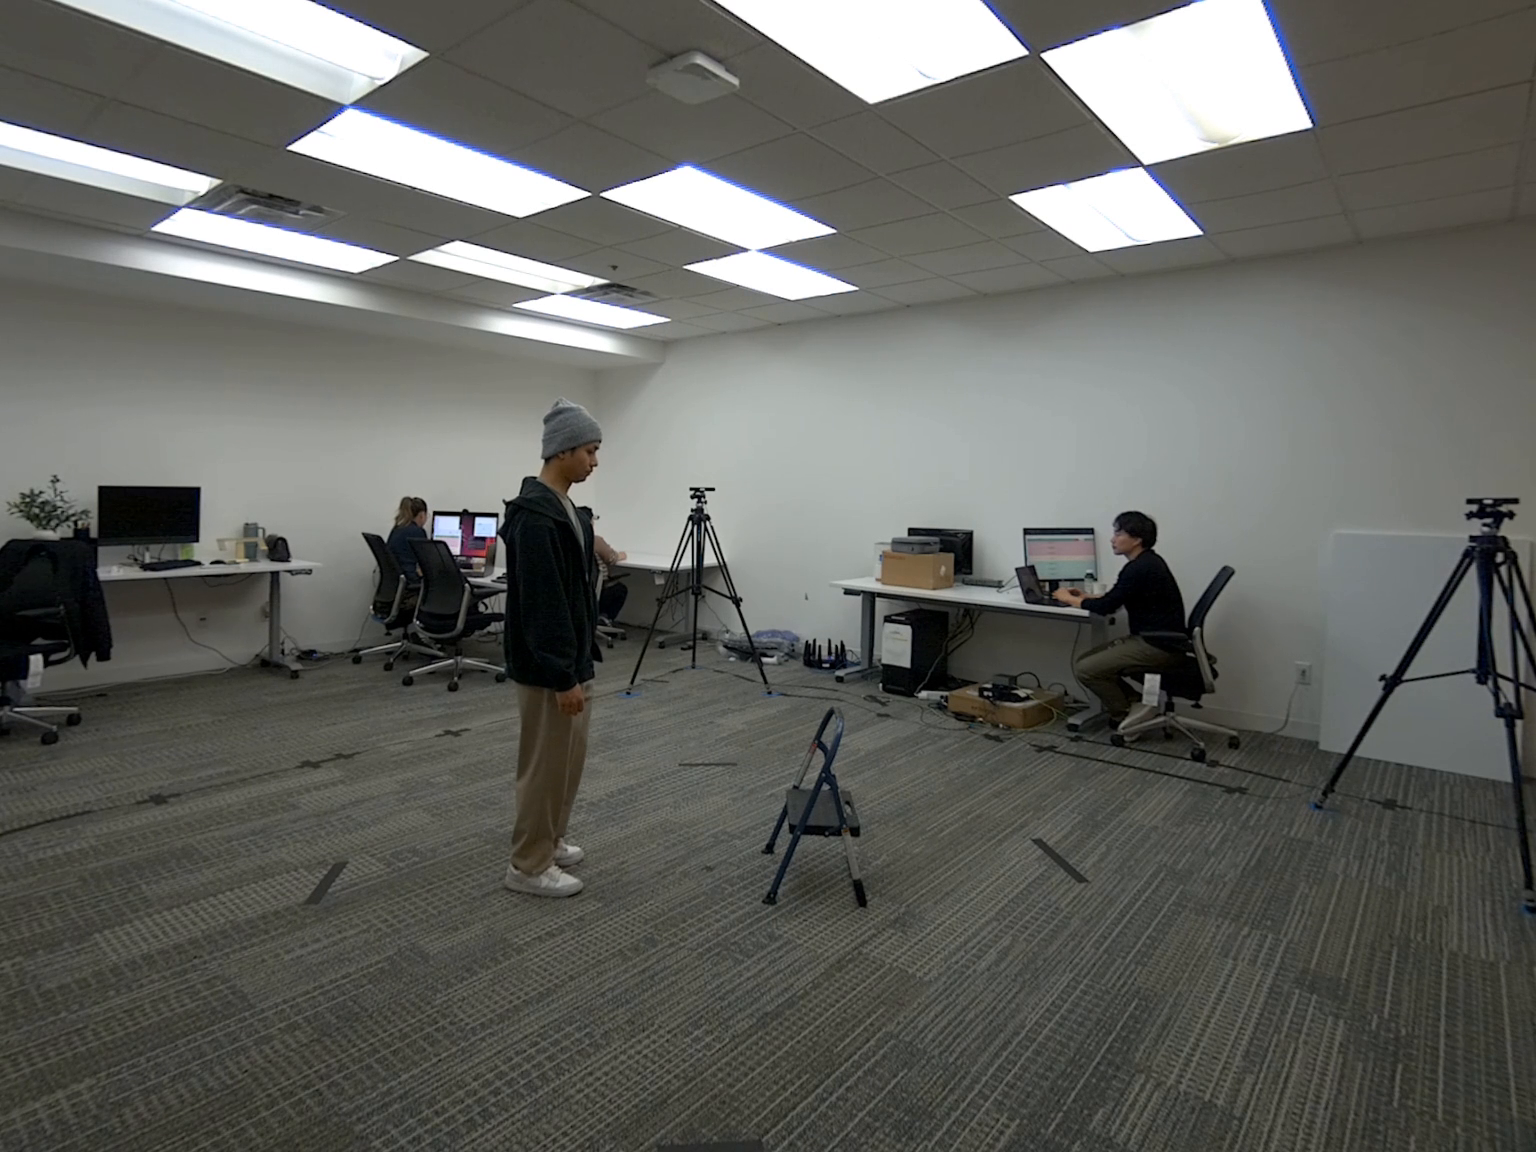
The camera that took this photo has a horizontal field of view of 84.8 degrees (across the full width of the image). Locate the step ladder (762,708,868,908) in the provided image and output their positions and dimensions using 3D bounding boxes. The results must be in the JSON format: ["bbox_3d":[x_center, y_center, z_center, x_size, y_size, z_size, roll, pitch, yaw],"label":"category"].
[{"bbox_3d":[0.161,0.783,3.033,0.350,0.604,0.432,1,4,0],"label":"step ladder"}]
